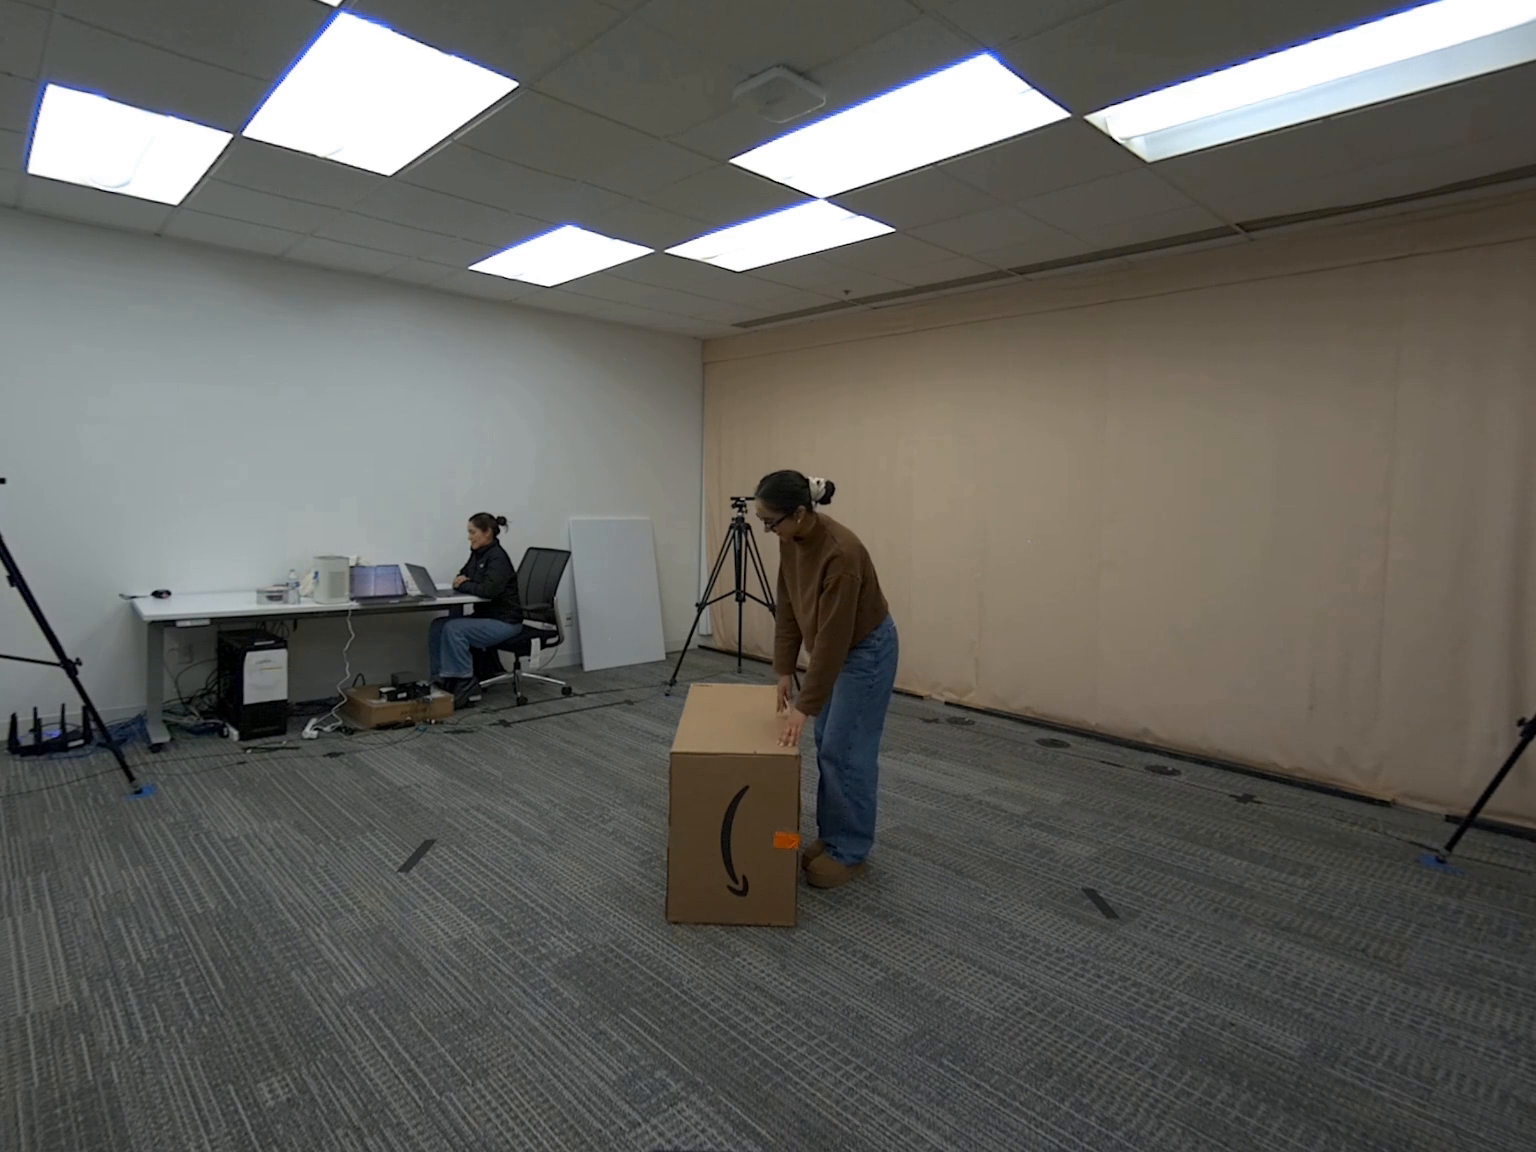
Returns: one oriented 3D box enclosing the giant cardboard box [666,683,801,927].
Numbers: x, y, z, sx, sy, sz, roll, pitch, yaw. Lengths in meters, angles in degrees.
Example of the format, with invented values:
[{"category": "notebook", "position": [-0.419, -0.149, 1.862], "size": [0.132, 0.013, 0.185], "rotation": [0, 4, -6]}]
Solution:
[{"category": "giant cardboard box", "position": [-0.130, 0.810, 3.234], "size": [0.447, 0.582, 1.030], "rotation": [0, 5, -1]}]
